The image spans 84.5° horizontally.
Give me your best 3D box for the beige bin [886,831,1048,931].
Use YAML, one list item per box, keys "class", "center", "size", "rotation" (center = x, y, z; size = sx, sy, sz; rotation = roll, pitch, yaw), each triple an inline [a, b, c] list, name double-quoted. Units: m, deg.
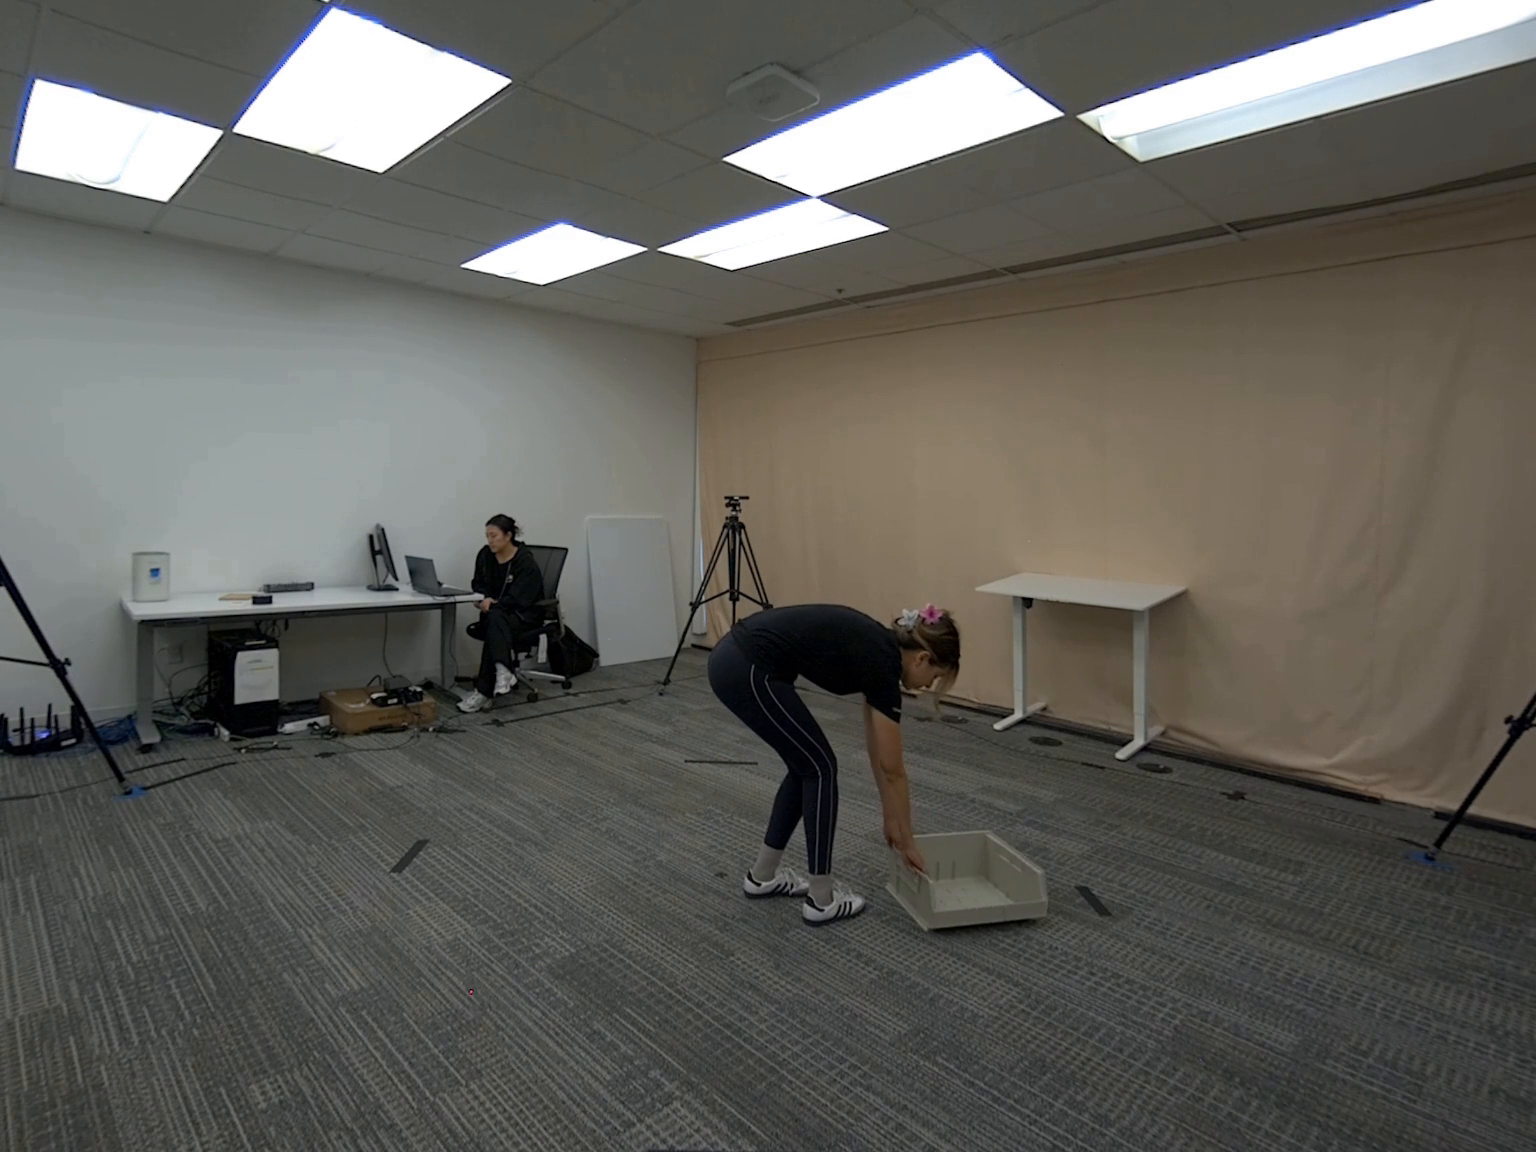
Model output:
- class: "beige bin"
  center: [0.658, 1.048, 2.906]
  size: [0.417, 0.188, 0.383]
  rotation: [-1, 4, -16]
